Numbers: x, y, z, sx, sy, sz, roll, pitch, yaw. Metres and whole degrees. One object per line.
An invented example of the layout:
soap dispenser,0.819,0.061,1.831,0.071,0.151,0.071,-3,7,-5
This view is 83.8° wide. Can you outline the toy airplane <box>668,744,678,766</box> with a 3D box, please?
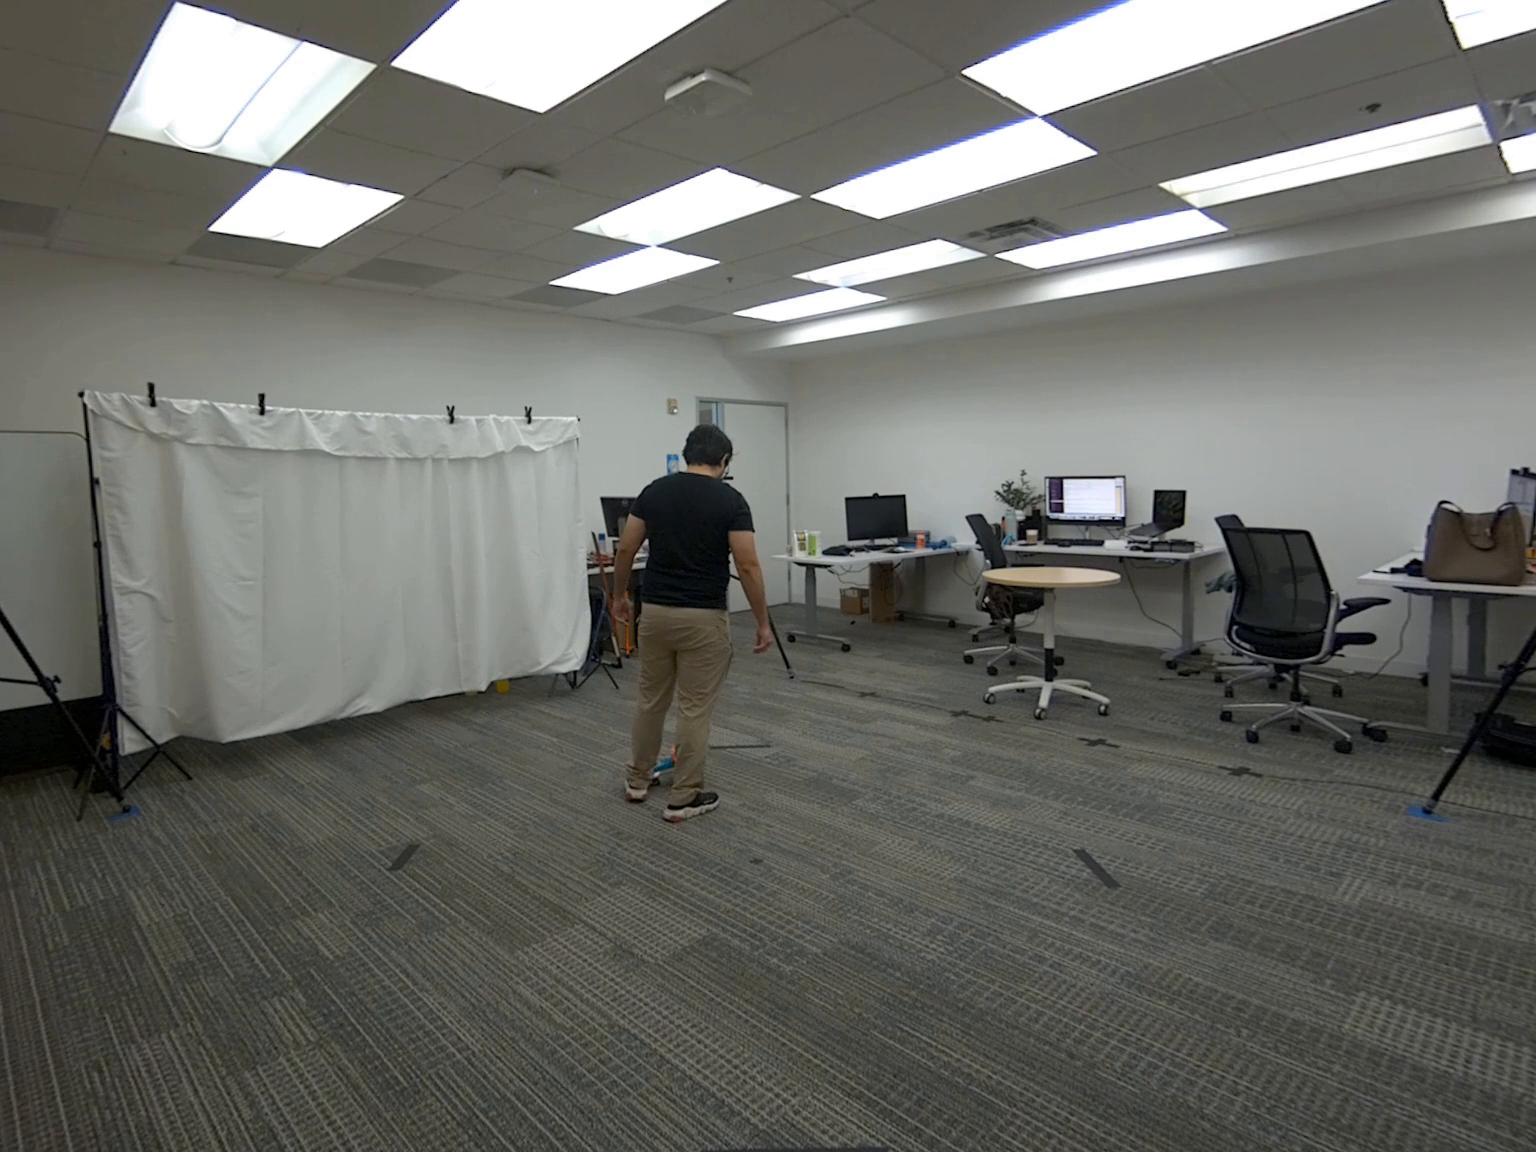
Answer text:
toy airplane,-0.413,0.881,3.915,0.252,0.156,0.258,-4,5,-41
